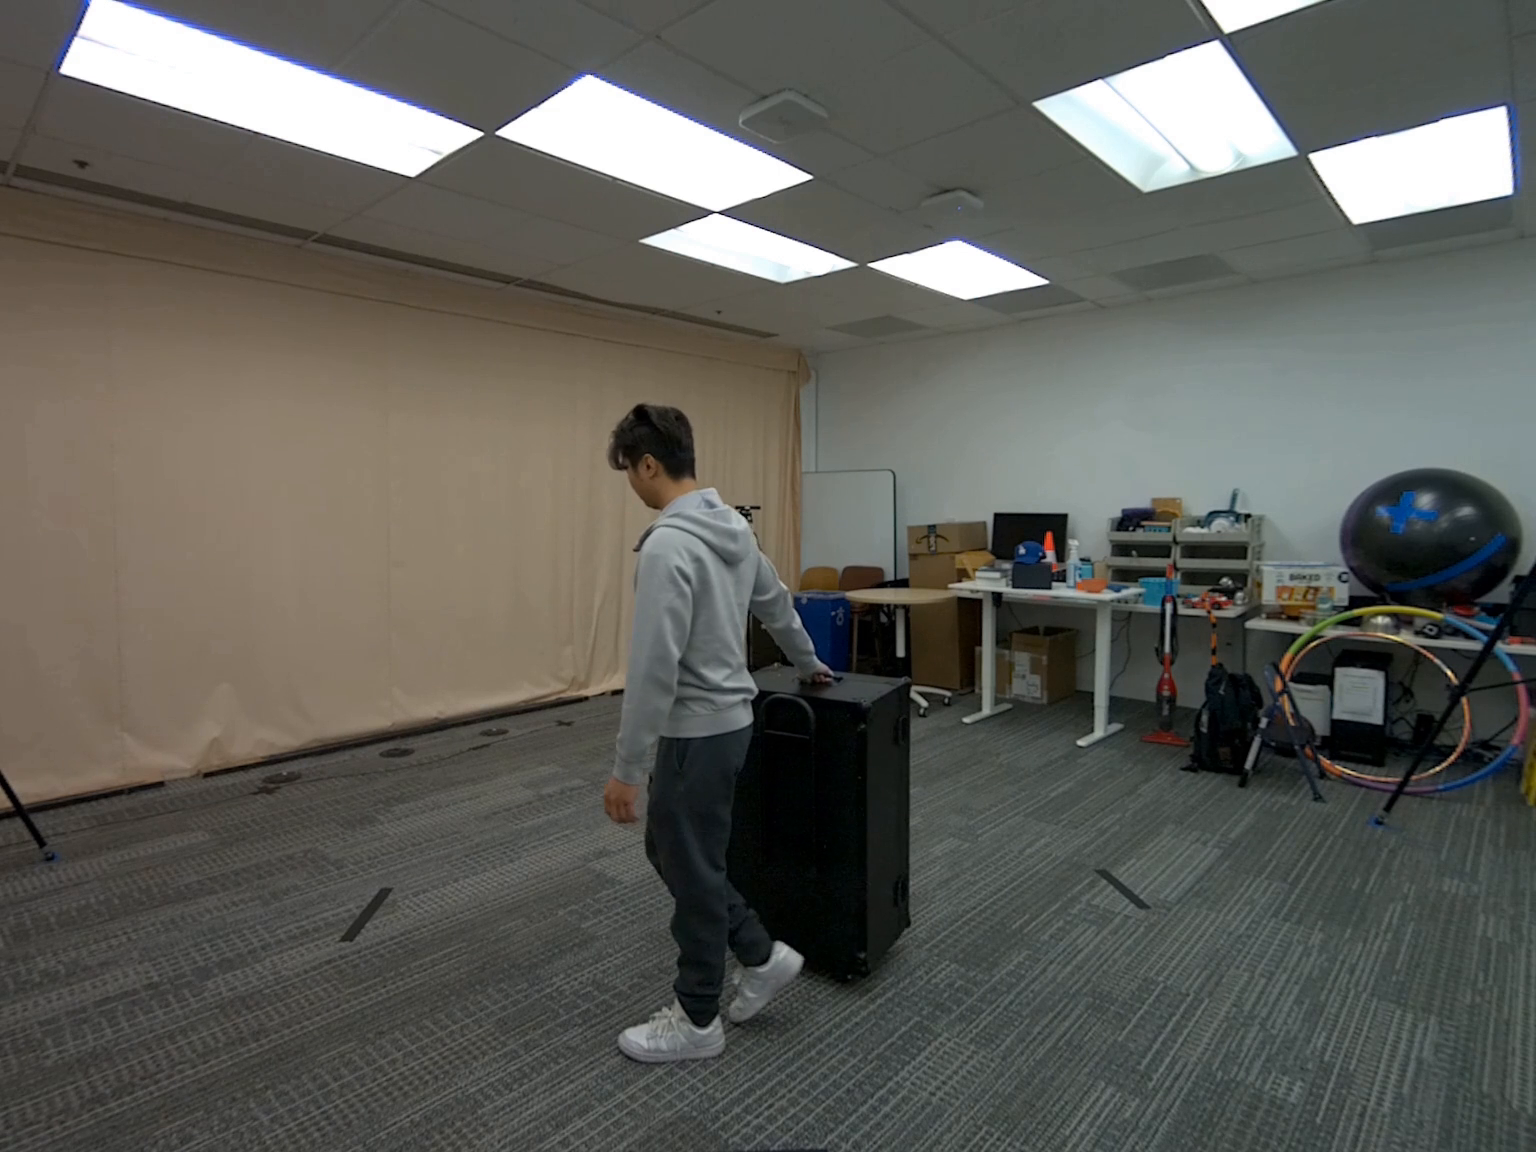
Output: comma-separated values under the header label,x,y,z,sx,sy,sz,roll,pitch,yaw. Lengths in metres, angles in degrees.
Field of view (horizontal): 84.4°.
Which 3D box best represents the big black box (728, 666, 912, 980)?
label,x,y,z,sx,sy,sz,roll,pitch,yaw
big black box,0.155,0.752,2.601,0.537,0.858,0.386,2,6,31
